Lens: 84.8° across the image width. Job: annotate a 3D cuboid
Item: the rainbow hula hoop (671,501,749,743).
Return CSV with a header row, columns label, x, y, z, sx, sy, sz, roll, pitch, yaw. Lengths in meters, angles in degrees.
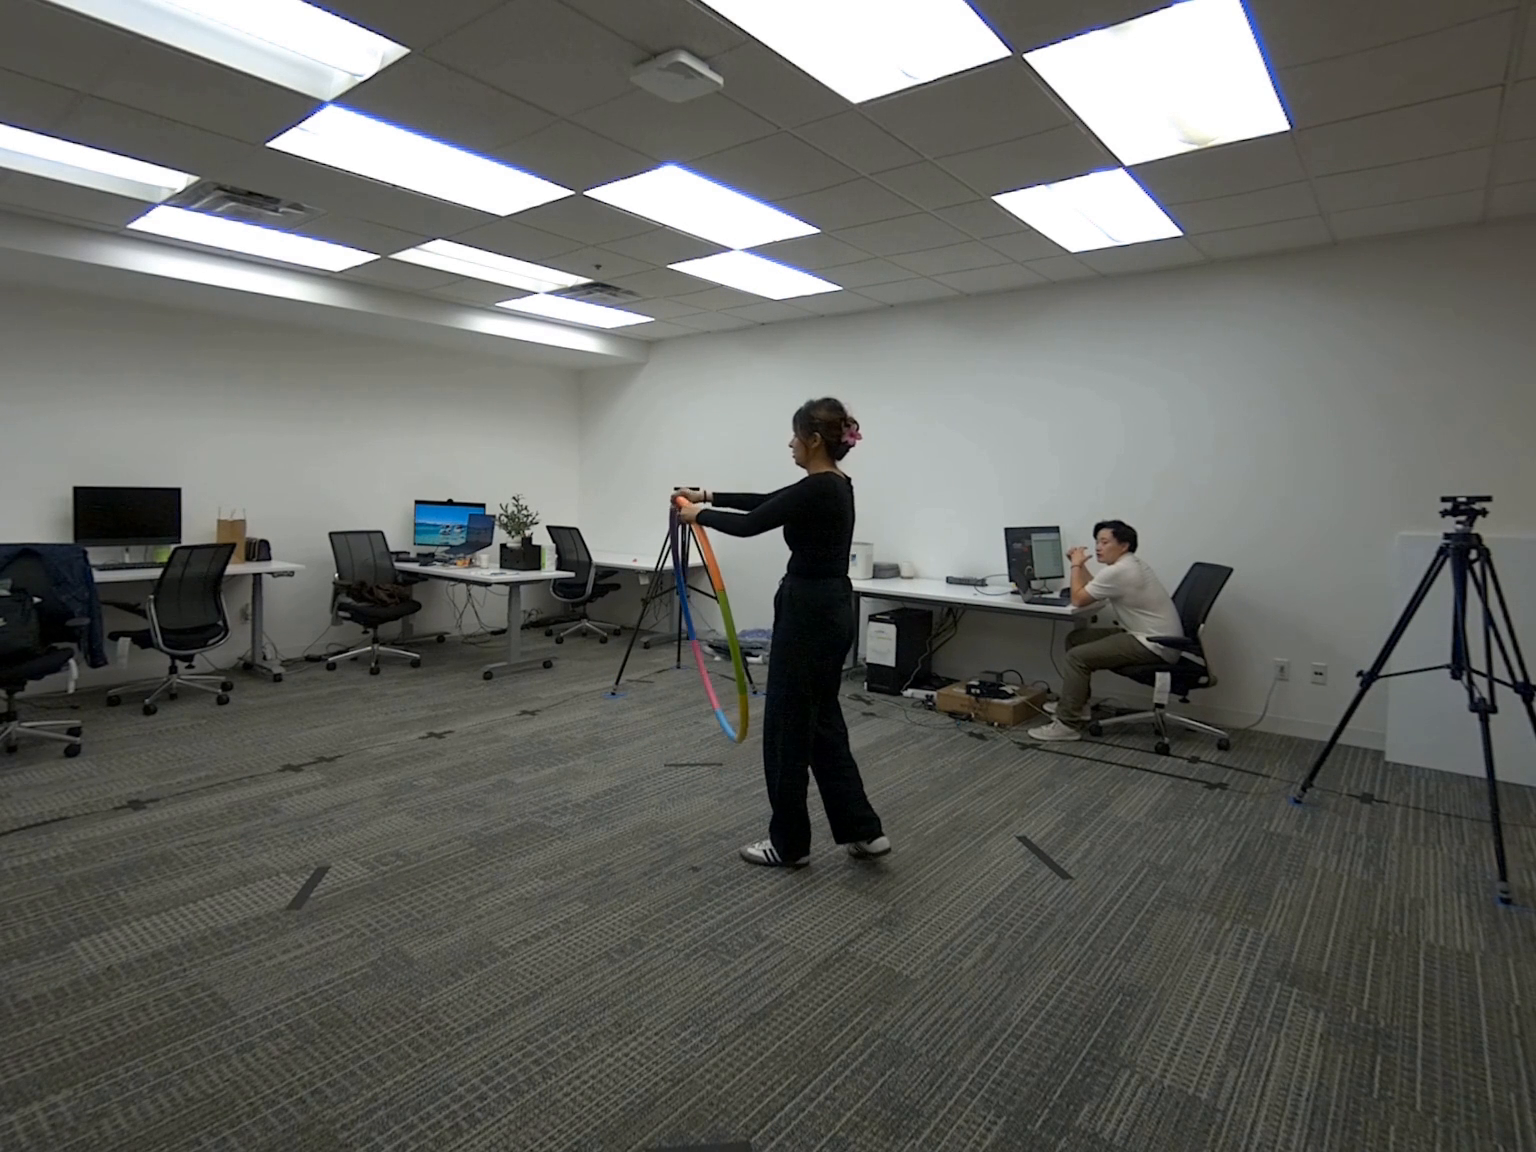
label,x,y,z,sx,sy,sz,roll,pitch,yaw
rainbow hula hoop,-0.261,0.169,3.370,0.051,0.979,1.002,-13,7,-13
